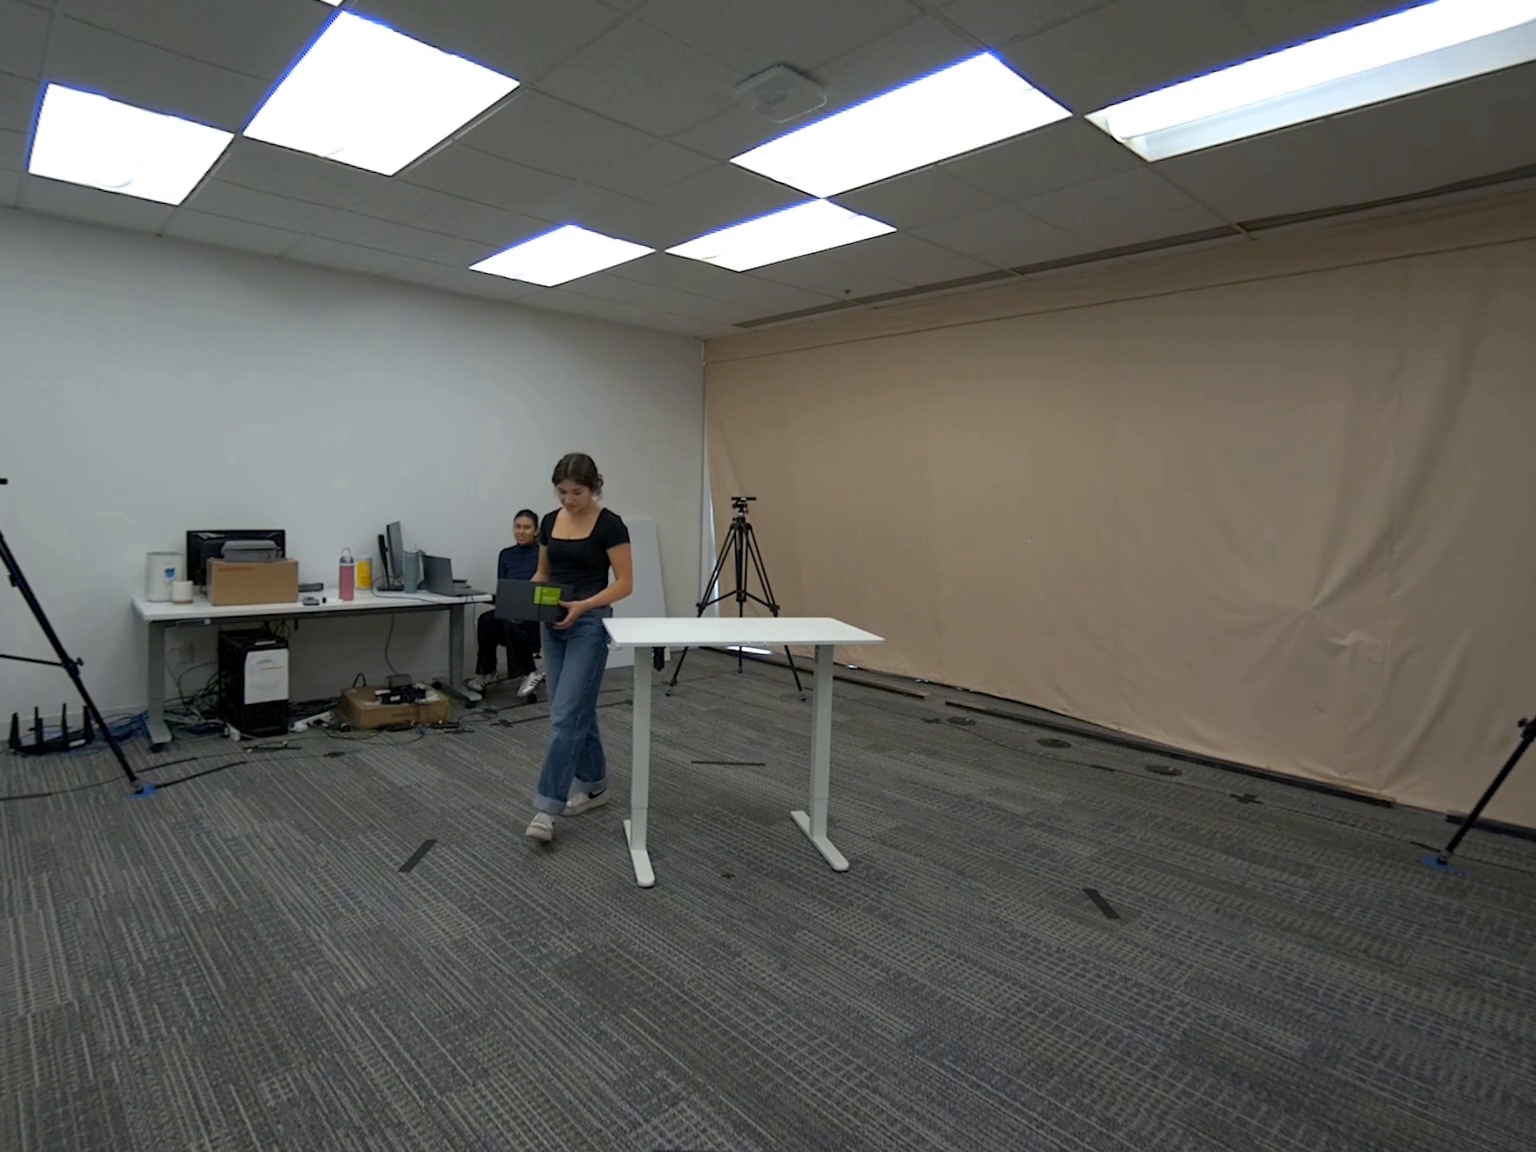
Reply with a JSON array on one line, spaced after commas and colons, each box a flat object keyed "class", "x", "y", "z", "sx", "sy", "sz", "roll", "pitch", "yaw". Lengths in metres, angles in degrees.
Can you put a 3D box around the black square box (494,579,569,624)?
[{"class": "black square box", "x": -0.968, "y": 0.099, "z": 3.399, "sx": 0.220, "sy": 0.156, "sz": 0.223, "roll": 3, "pitch": -4, "yaw": 20}]
